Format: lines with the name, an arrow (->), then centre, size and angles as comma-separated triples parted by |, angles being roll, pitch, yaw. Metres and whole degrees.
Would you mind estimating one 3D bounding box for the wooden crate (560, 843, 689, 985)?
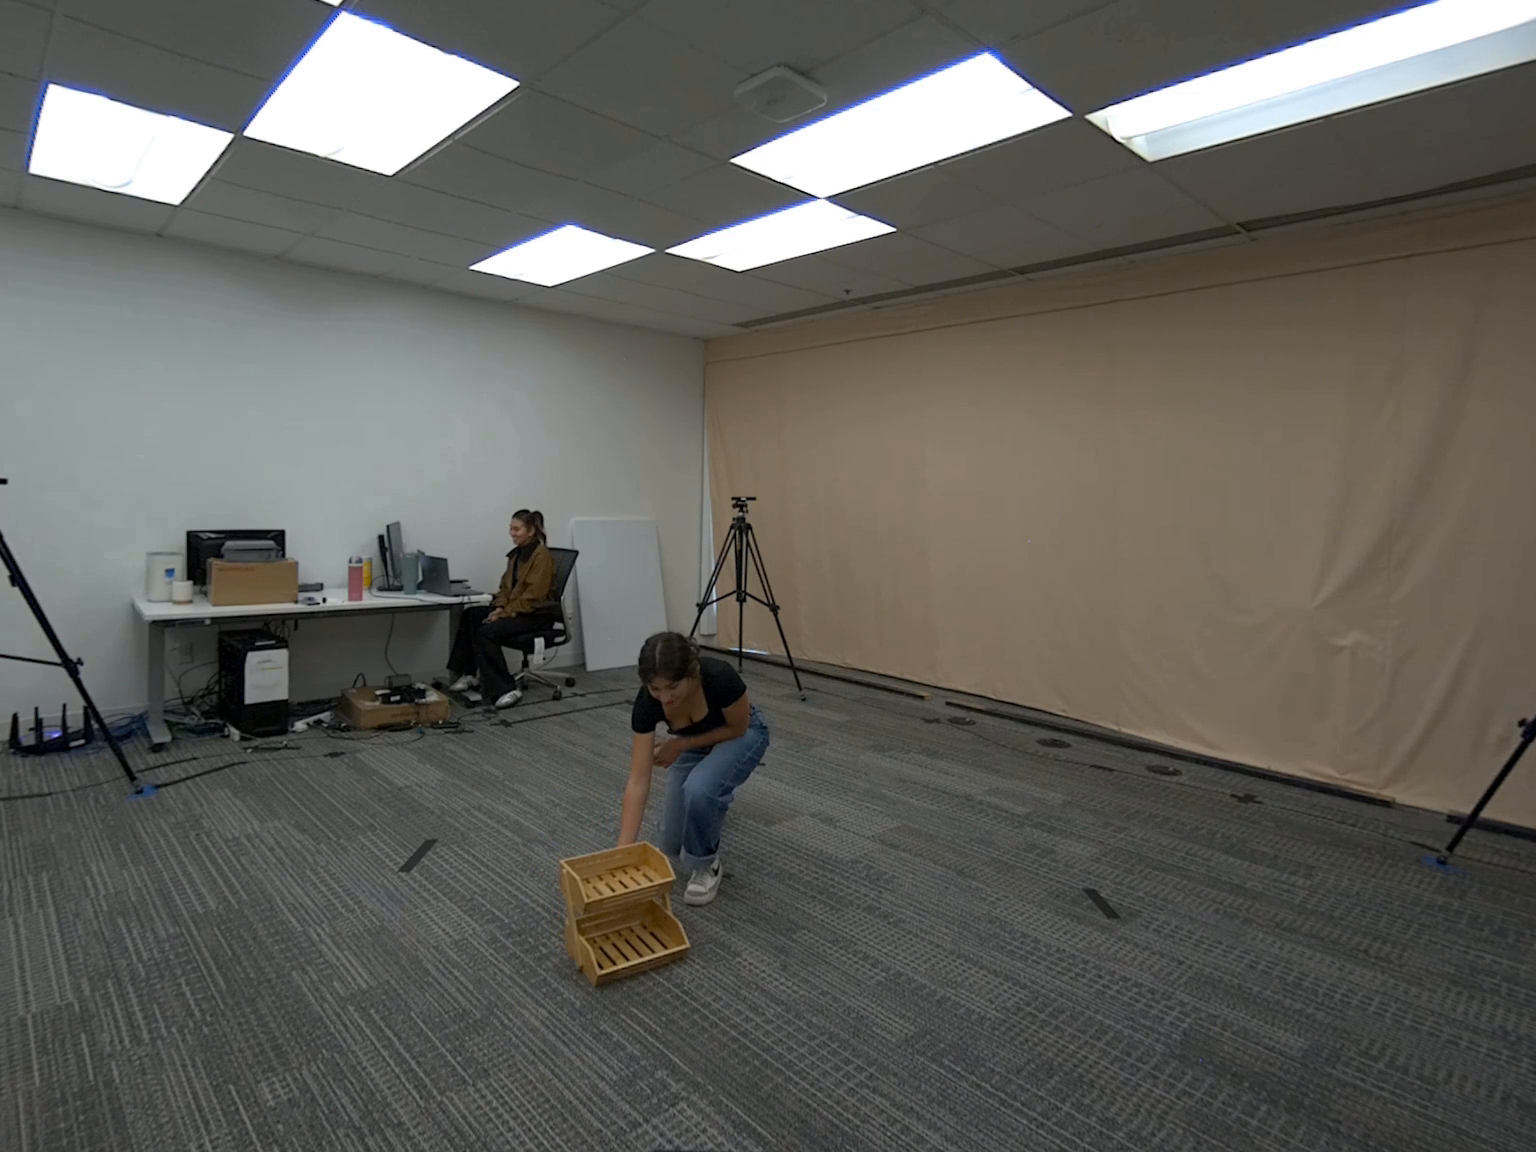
wooden crate -> -0.449, 1.019, 2.556 | 0.317, 0.273, 0.309 | -2, 5, -35
